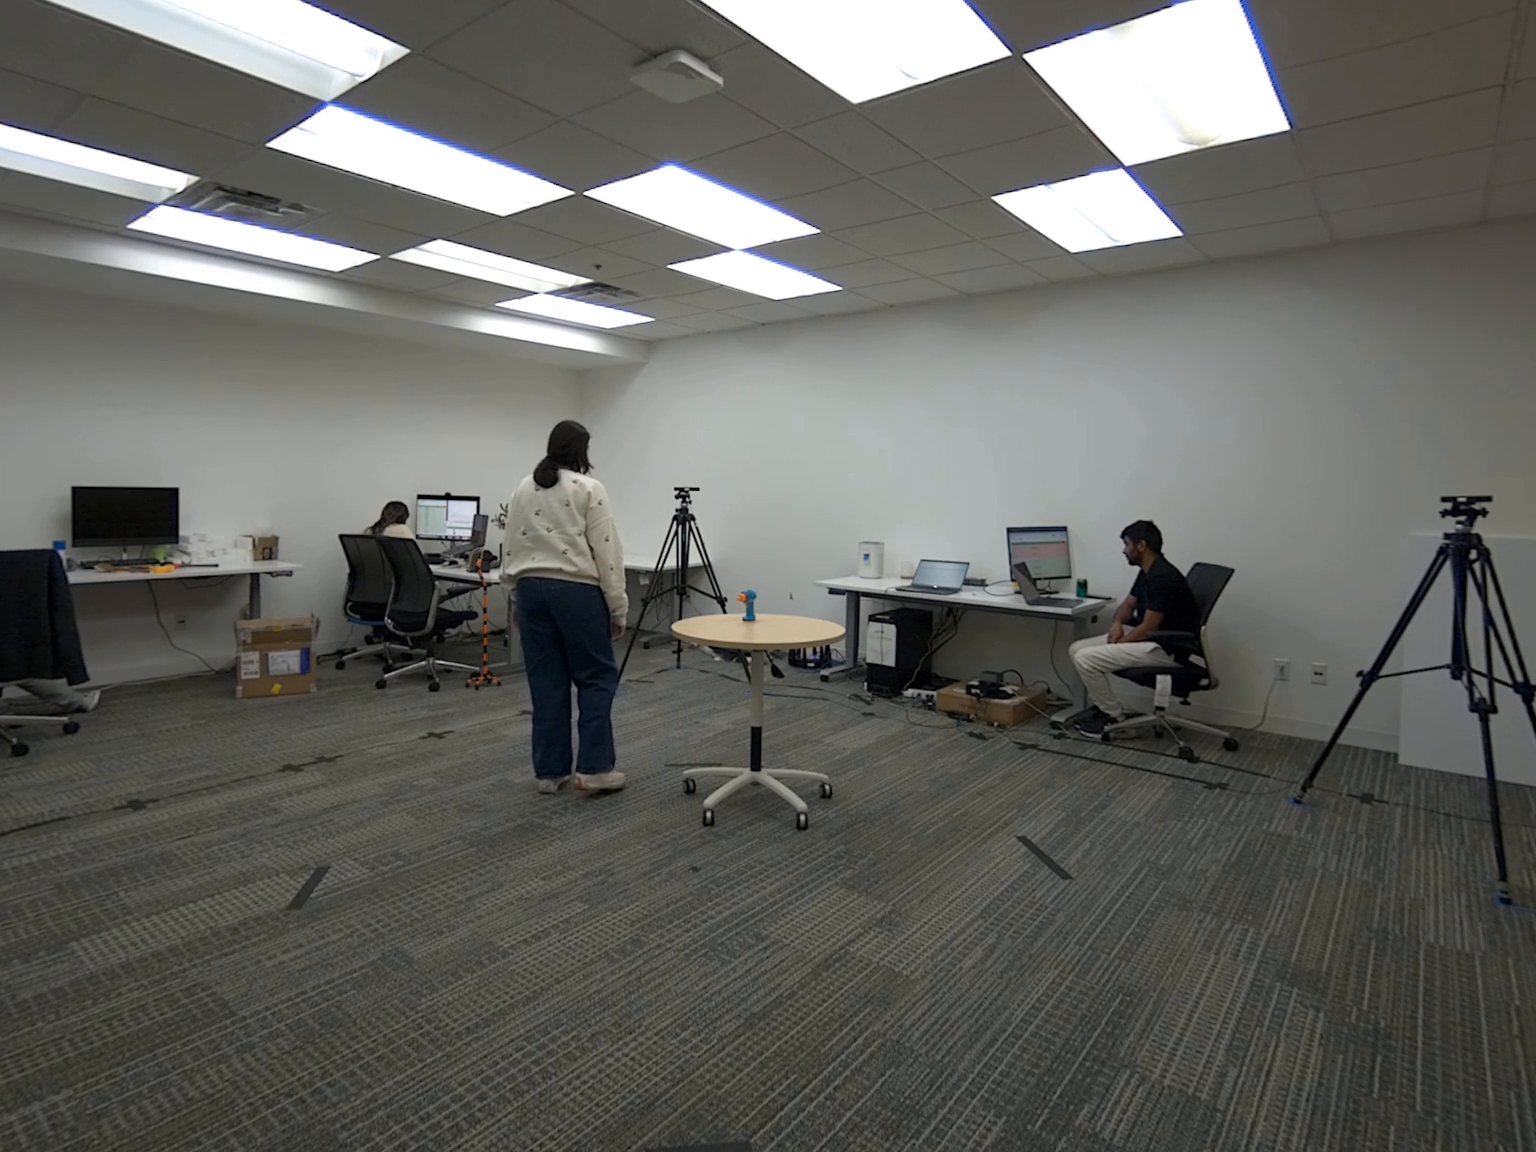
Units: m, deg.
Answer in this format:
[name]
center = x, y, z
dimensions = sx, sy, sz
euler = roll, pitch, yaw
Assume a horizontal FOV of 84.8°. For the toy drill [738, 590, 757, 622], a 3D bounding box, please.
[toy drill]
center = -0.110, 0.132, 3.916
dimensions = 0.063, 0.145, 0.166
euler = 3, 5, 23
